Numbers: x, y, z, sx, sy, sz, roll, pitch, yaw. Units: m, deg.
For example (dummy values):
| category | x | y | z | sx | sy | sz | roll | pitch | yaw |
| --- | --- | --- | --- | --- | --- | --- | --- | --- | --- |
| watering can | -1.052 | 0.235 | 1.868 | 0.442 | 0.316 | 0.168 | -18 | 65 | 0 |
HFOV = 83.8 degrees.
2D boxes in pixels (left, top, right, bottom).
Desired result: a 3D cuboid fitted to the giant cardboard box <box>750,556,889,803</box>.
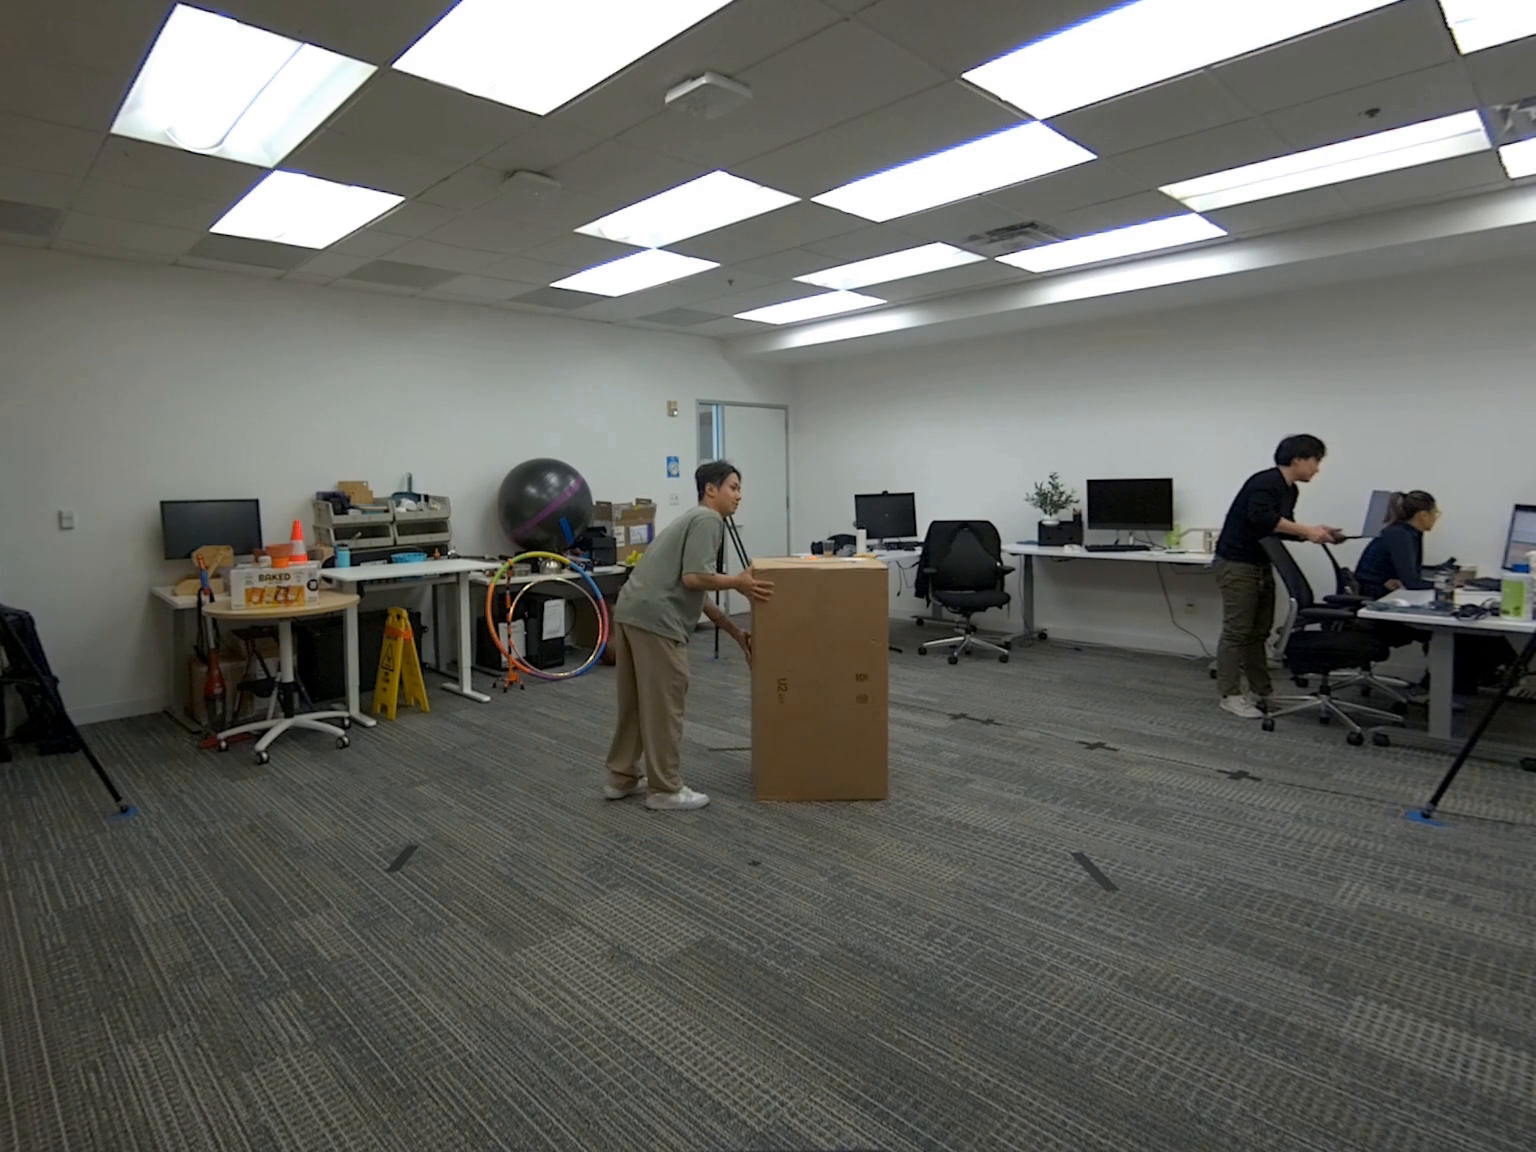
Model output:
| category | x | y | z | sx | sy | sz | roll | pitch | yaw |
| --- | --- | --- | --- | --- | --- | --- | --- | --- | --- |
| giant cardboard box | 0.220 | 0.444 | 3.858 | 0.577 | 1.021 | 0.428 | 0 | 5 | -1 |
